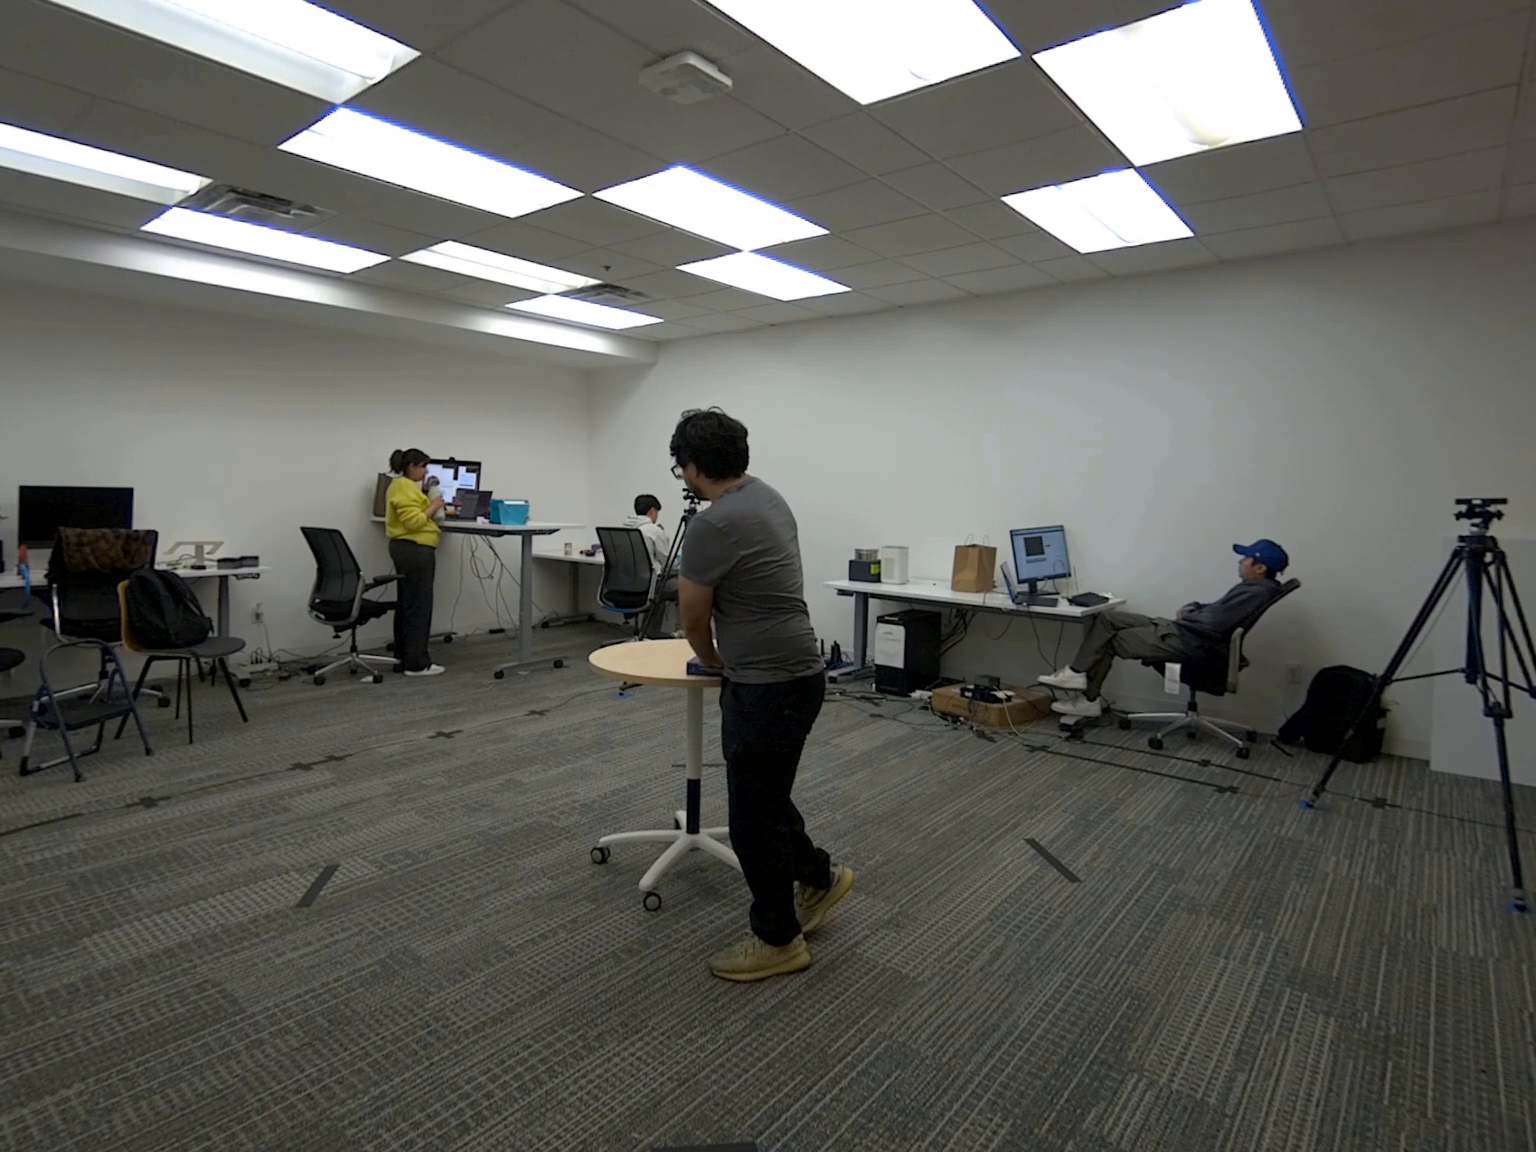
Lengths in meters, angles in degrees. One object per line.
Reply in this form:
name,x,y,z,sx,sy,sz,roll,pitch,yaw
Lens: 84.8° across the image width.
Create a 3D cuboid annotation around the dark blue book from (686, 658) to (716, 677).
dark blue book,-0.140,0.295,2.801,0.248,0.045,0.162,2,5,11
